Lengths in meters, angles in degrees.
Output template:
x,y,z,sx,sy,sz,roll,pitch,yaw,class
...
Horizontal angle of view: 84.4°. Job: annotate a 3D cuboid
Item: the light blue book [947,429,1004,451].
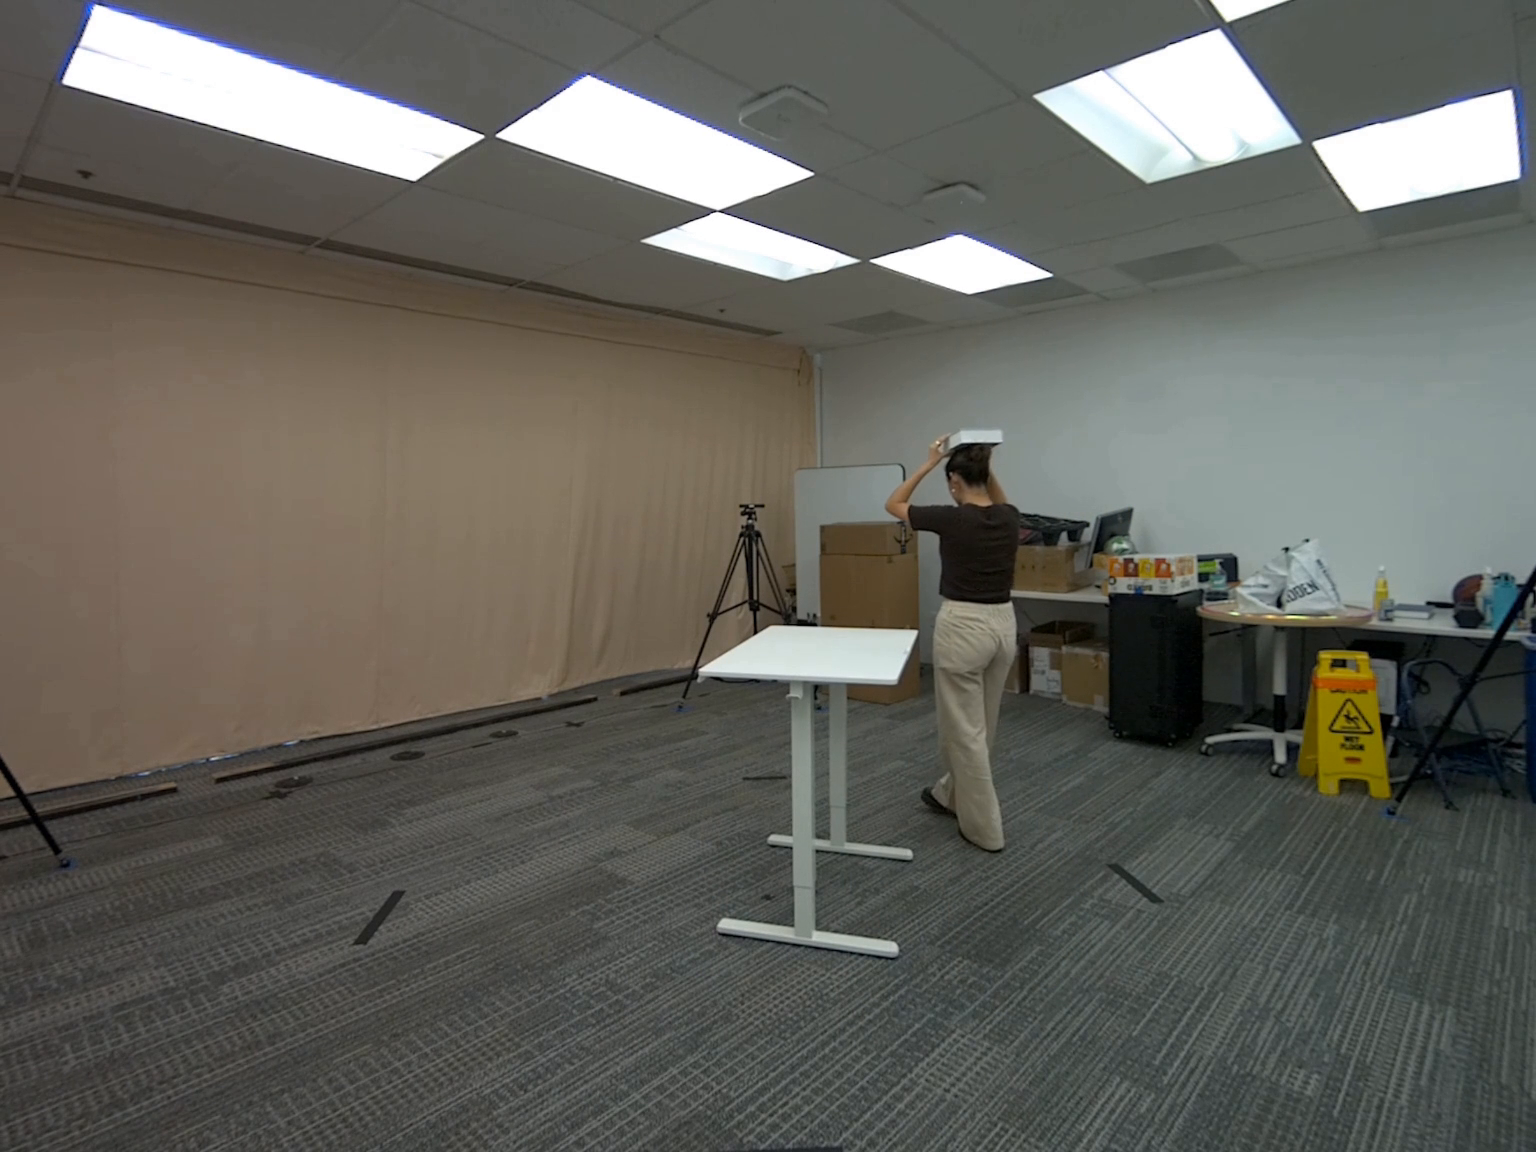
x,y,z,sx,sy,sz,roll,pitch,yaw,class
0.830,-0.545,3.473,0.189,0.059,0.262,-3,-5,-10,light blue book
